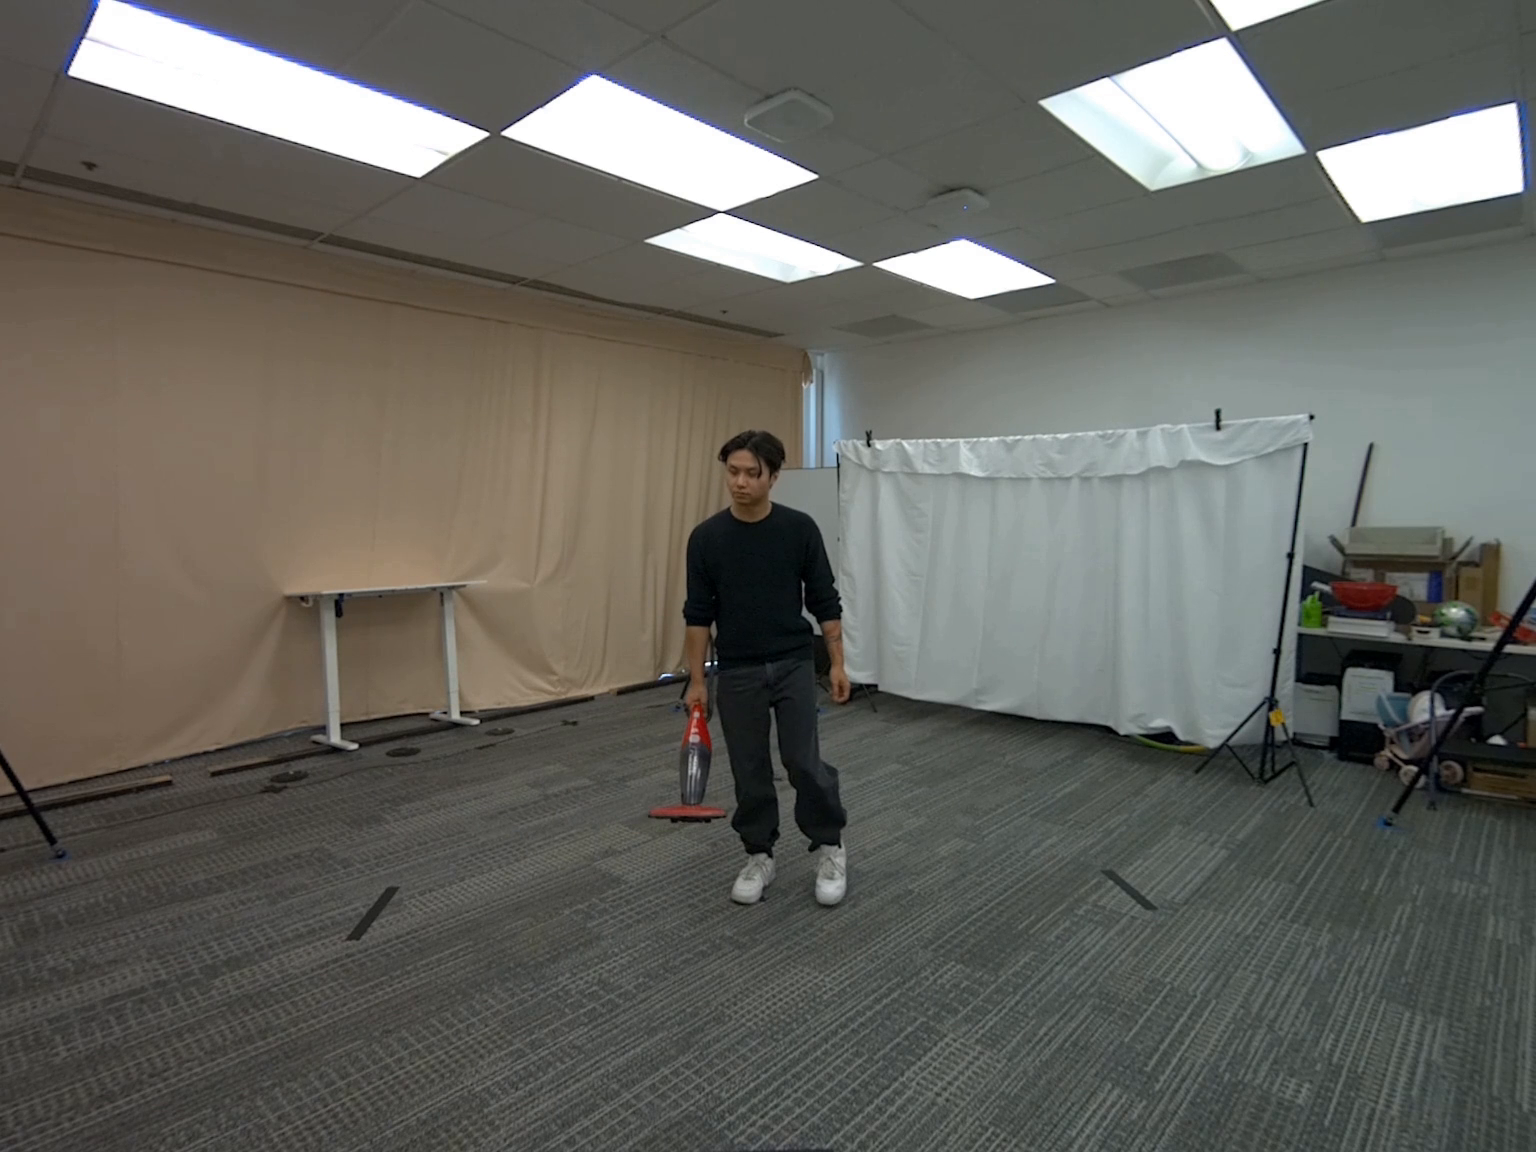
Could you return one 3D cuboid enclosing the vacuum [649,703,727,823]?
[{"bbox_3d":[-0.245,0.463,3.135,0.253,0.141,1.067,0,39,0],"label":"vacuum"}]
